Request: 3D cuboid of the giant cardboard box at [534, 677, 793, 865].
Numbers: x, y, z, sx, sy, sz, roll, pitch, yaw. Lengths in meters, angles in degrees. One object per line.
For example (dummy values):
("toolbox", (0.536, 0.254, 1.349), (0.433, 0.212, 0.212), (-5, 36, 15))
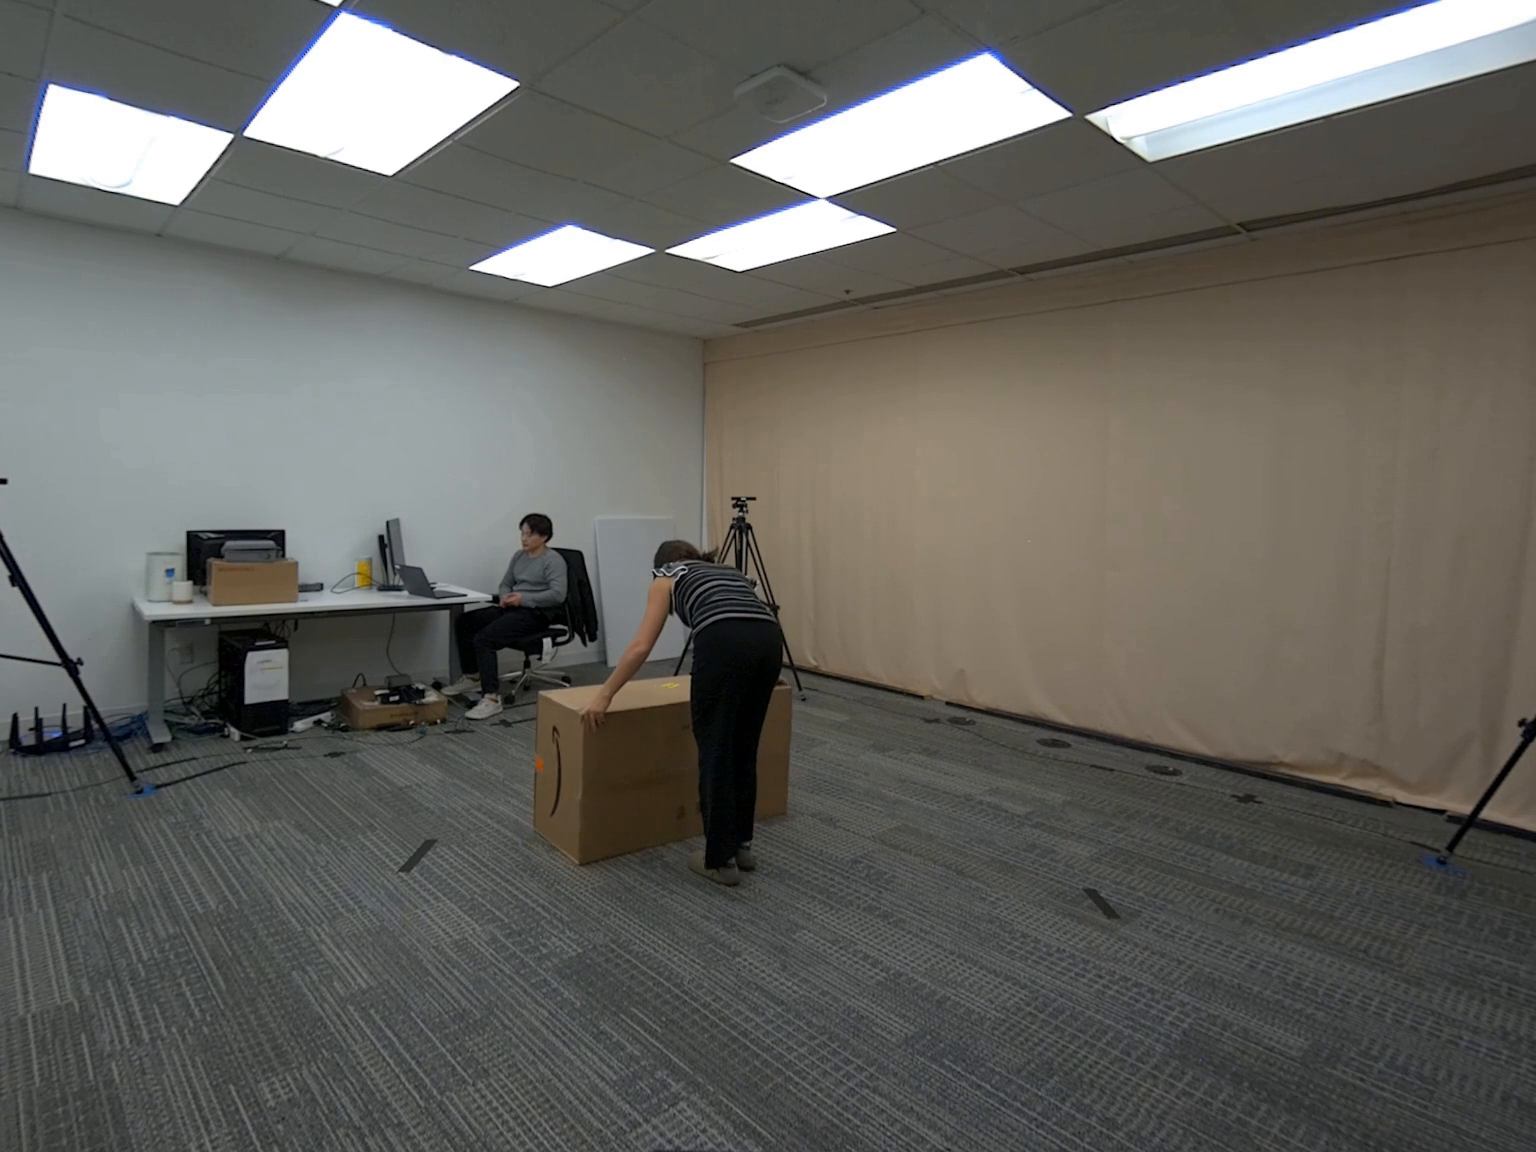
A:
("giant cardboard box", (-0.440, 0.764, 3.609), (1.003, 0.576, 0.437), (-1, 5, -37))
